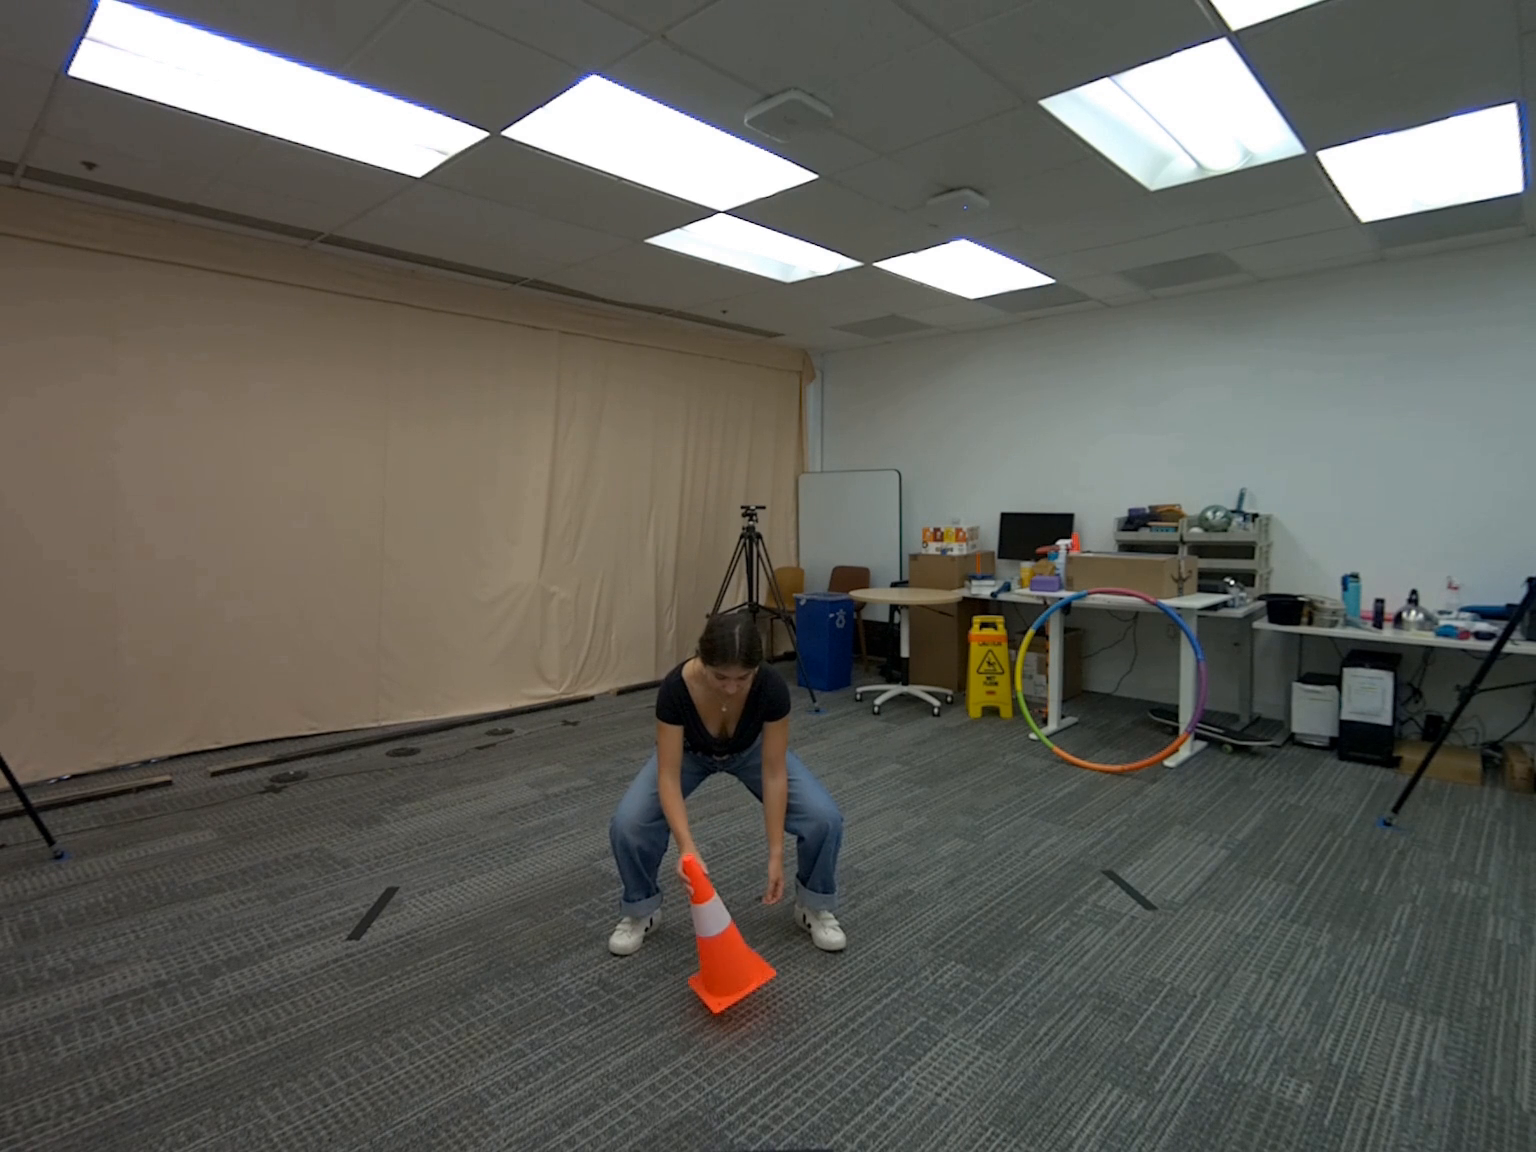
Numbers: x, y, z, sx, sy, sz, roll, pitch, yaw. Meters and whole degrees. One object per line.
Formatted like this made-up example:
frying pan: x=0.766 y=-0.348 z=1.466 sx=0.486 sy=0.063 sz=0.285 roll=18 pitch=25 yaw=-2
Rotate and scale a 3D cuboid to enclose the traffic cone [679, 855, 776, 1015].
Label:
traffic cone: x=-0.145 y=0.930 z=2.284 sx=0.200 sy=0.380 sz=0.210 roll=-22 pitch=11 yaw=-23
